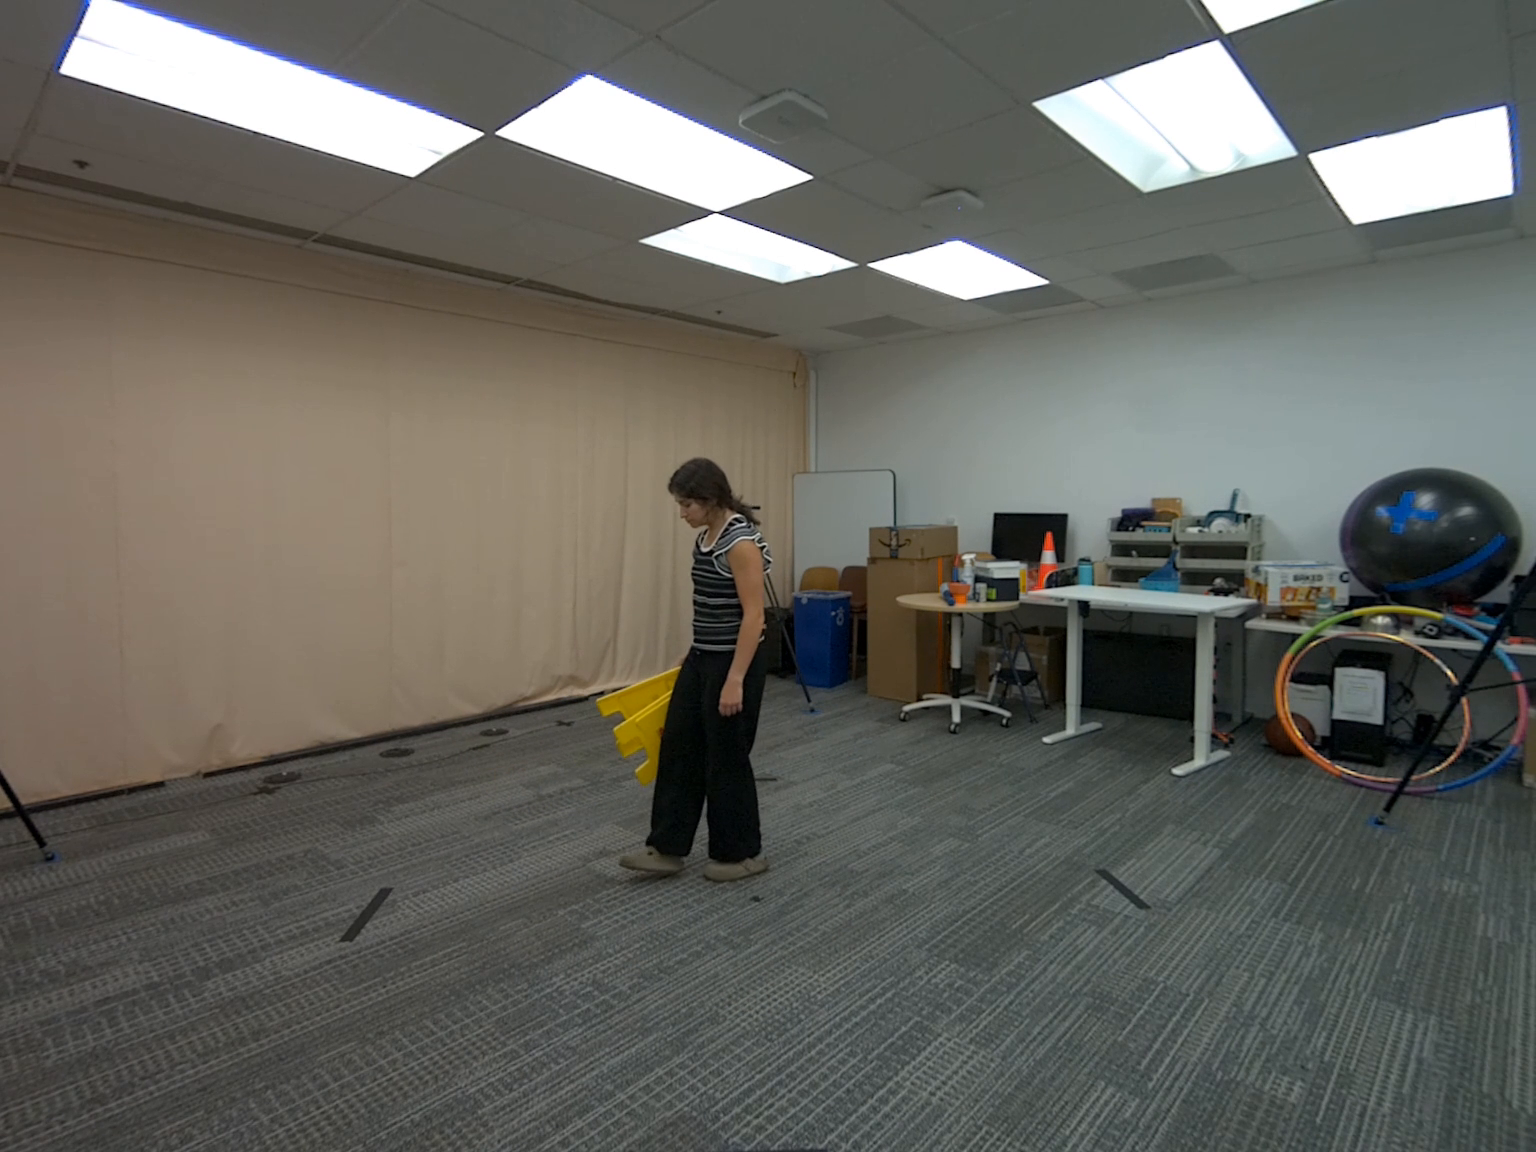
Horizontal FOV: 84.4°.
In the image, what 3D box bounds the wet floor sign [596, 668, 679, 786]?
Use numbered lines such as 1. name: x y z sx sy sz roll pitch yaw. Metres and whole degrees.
1. wet floor sign: -0.318 0.504 3.371 0.640 0.276 0.298 -30 23 -15
